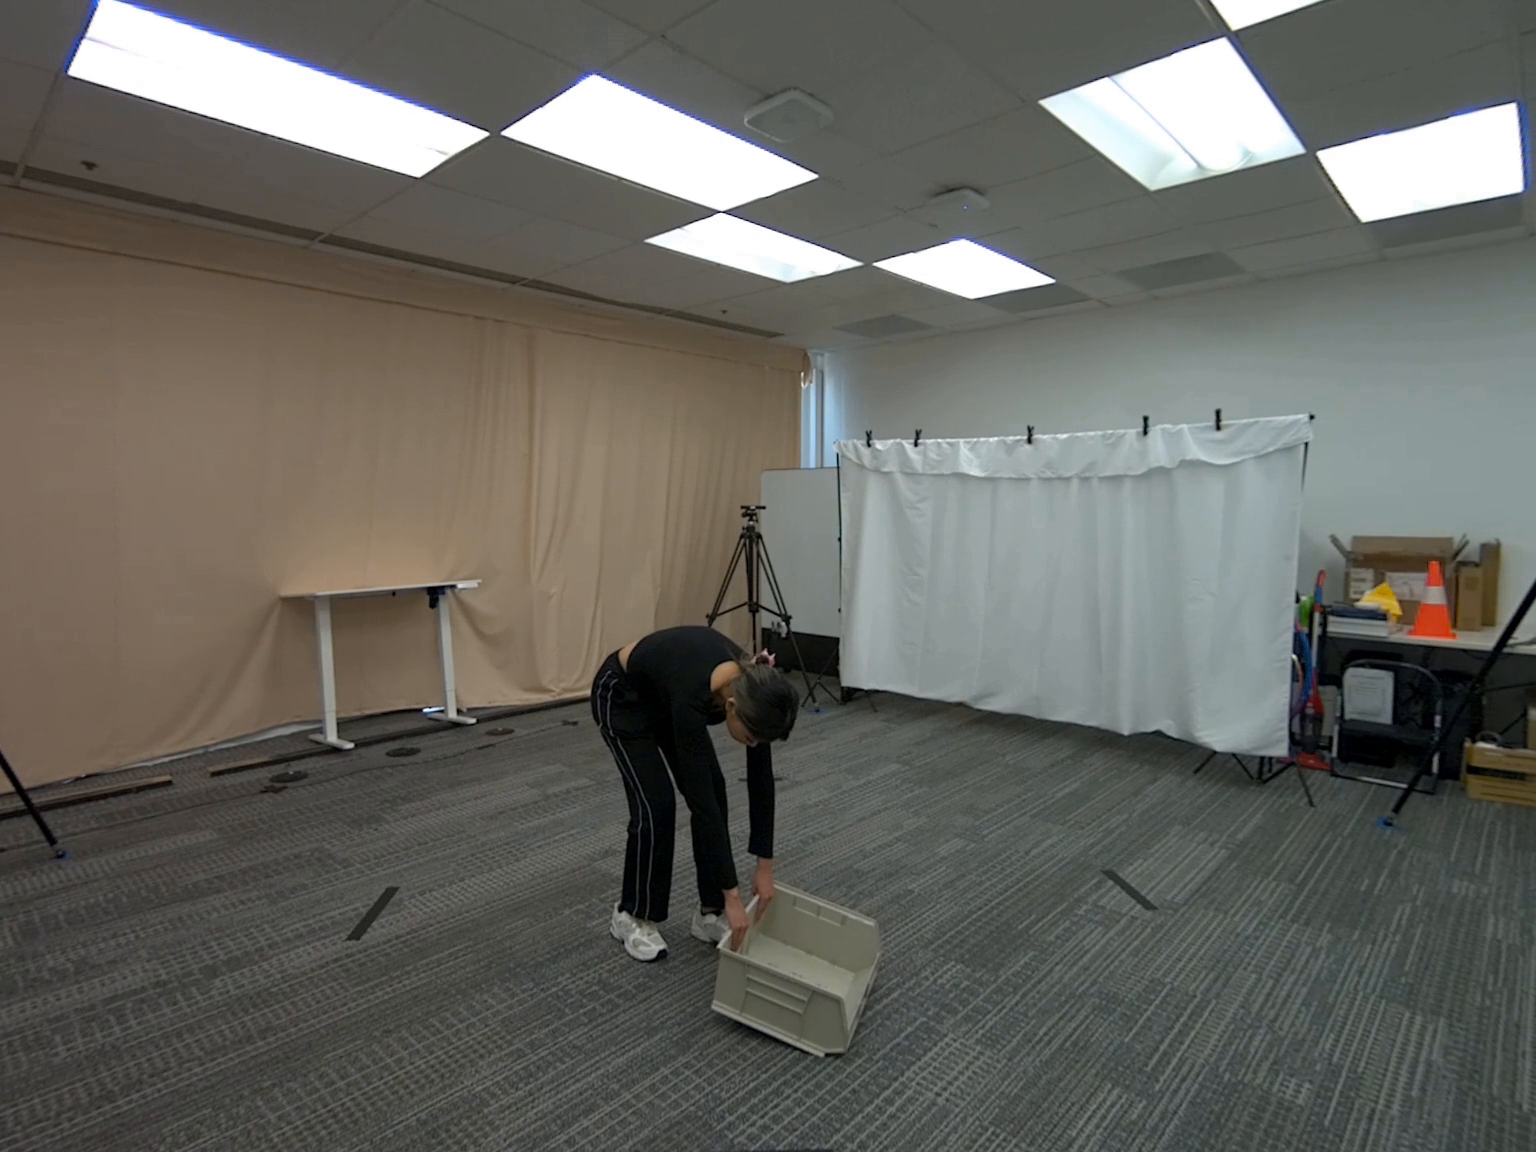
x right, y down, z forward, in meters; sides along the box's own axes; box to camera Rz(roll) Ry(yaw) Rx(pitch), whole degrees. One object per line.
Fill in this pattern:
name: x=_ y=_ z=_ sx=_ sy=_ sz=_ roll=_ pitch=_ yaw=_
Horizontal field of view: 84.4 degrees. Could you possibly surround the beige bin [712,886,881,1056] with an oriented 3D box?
beige bin: x=0.103 y=1.084 z=2.341 sx=0.386 sy=0.188 sz=0.415 roll=11 pitch=9 yaw=19
